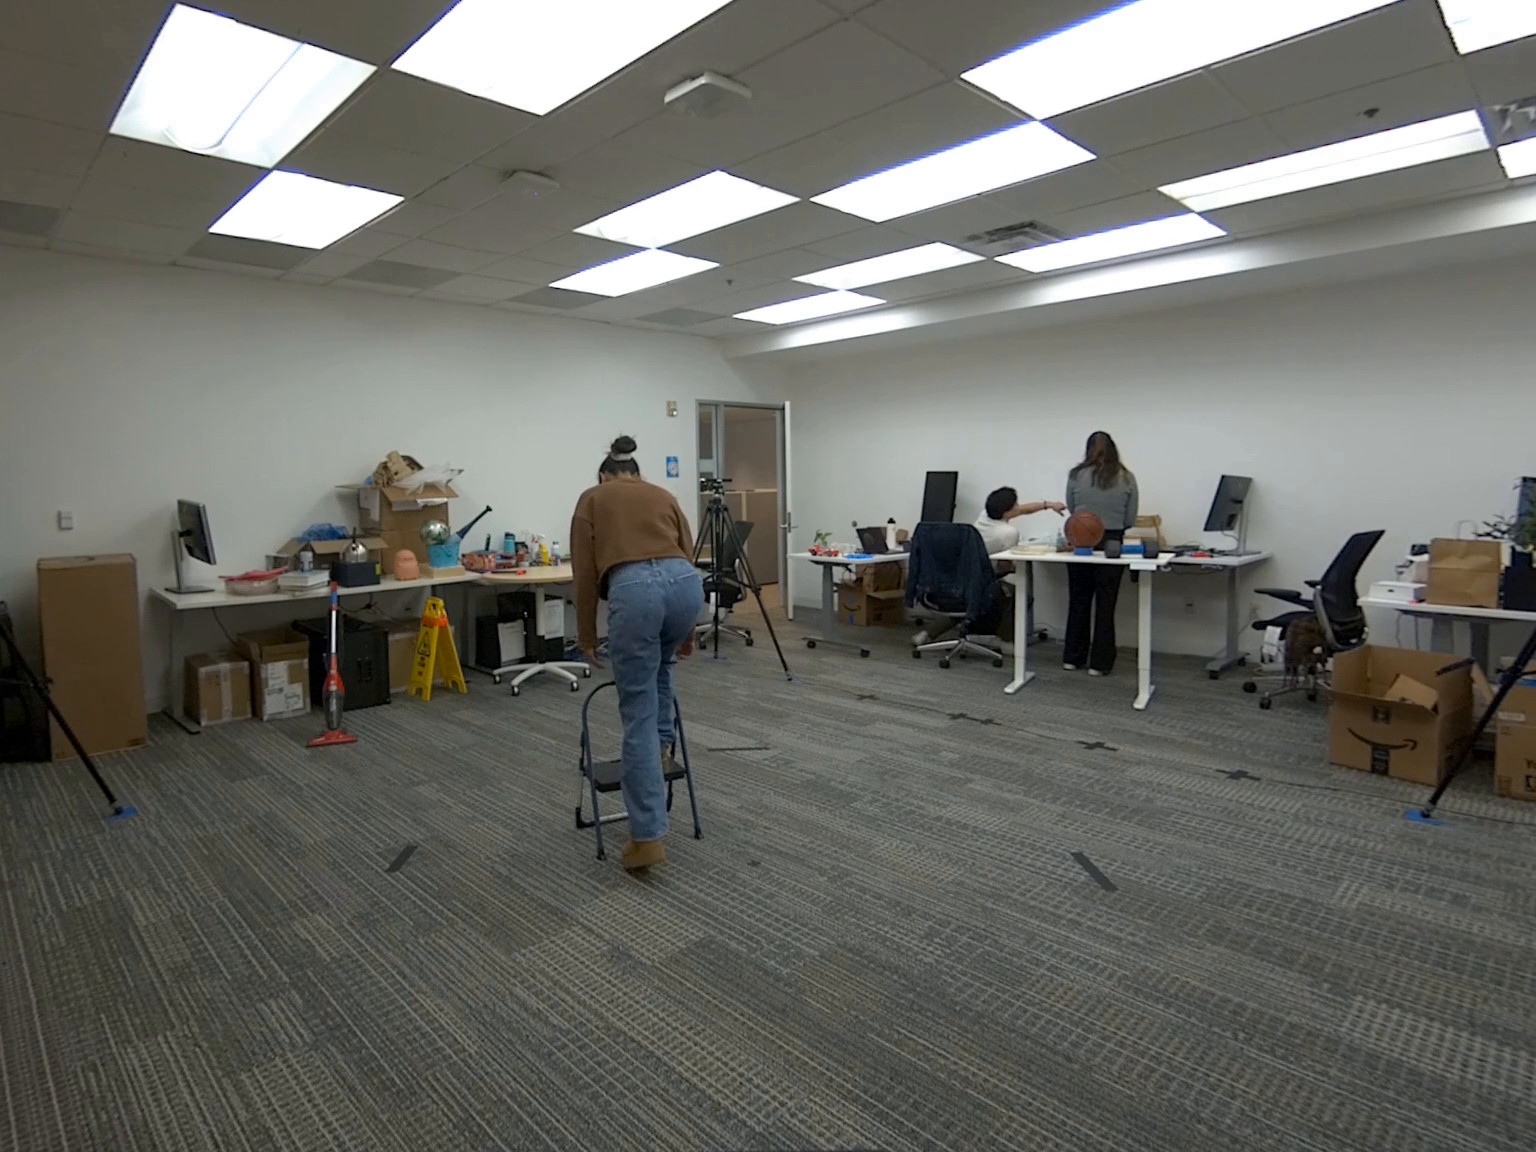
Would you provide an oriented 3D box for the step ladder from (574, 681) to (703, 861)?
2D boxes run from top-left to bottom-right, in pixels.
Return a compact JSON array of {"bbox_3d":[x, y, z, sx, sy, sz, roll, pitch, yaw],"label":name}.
[{"bbox_3d":[-0.523,0.719,3.383,0.421,0.604,0.358,-4,5,-28],"label":"step ladder"}]
